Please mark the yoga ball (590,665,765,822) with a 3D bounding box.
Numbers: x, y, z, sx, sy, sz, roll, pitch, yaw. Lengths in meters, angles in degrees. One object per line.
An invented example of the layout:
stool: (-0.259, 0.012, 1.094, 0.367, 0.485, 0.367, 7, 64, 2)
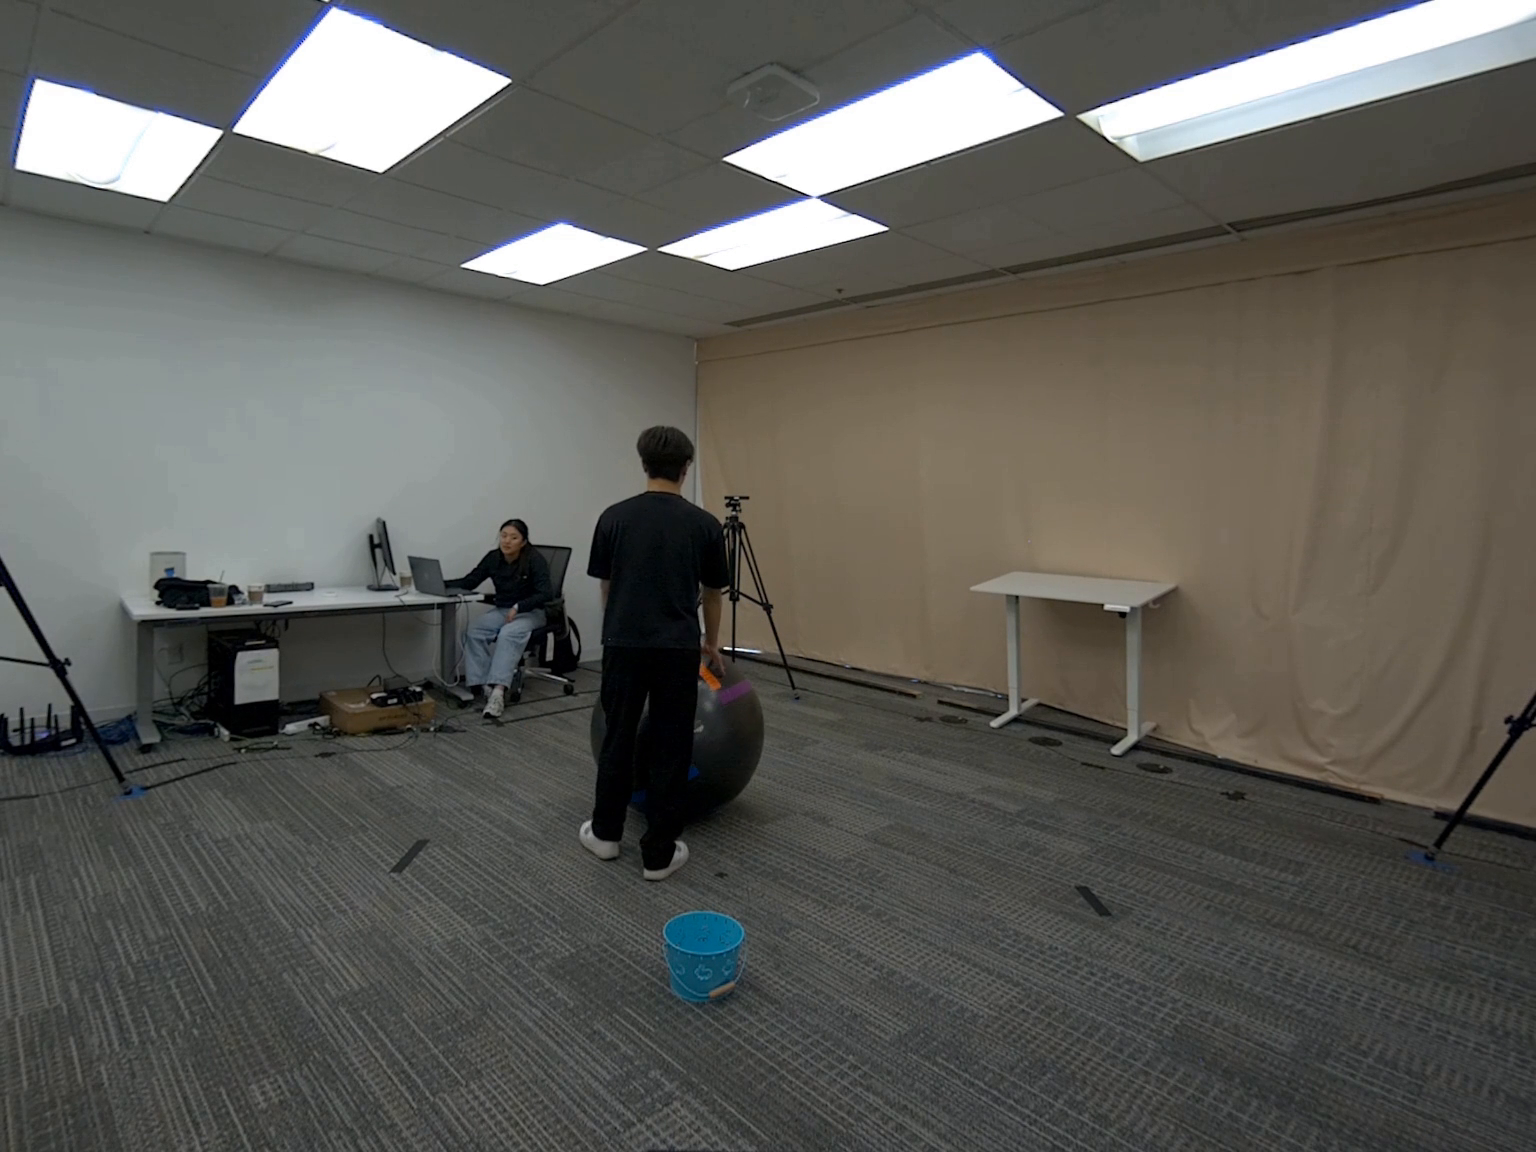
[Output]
yoga ball: (-0.406, 0.678, 3.683, 0.757, 0.756, 0.761, 1, 4, -1)
